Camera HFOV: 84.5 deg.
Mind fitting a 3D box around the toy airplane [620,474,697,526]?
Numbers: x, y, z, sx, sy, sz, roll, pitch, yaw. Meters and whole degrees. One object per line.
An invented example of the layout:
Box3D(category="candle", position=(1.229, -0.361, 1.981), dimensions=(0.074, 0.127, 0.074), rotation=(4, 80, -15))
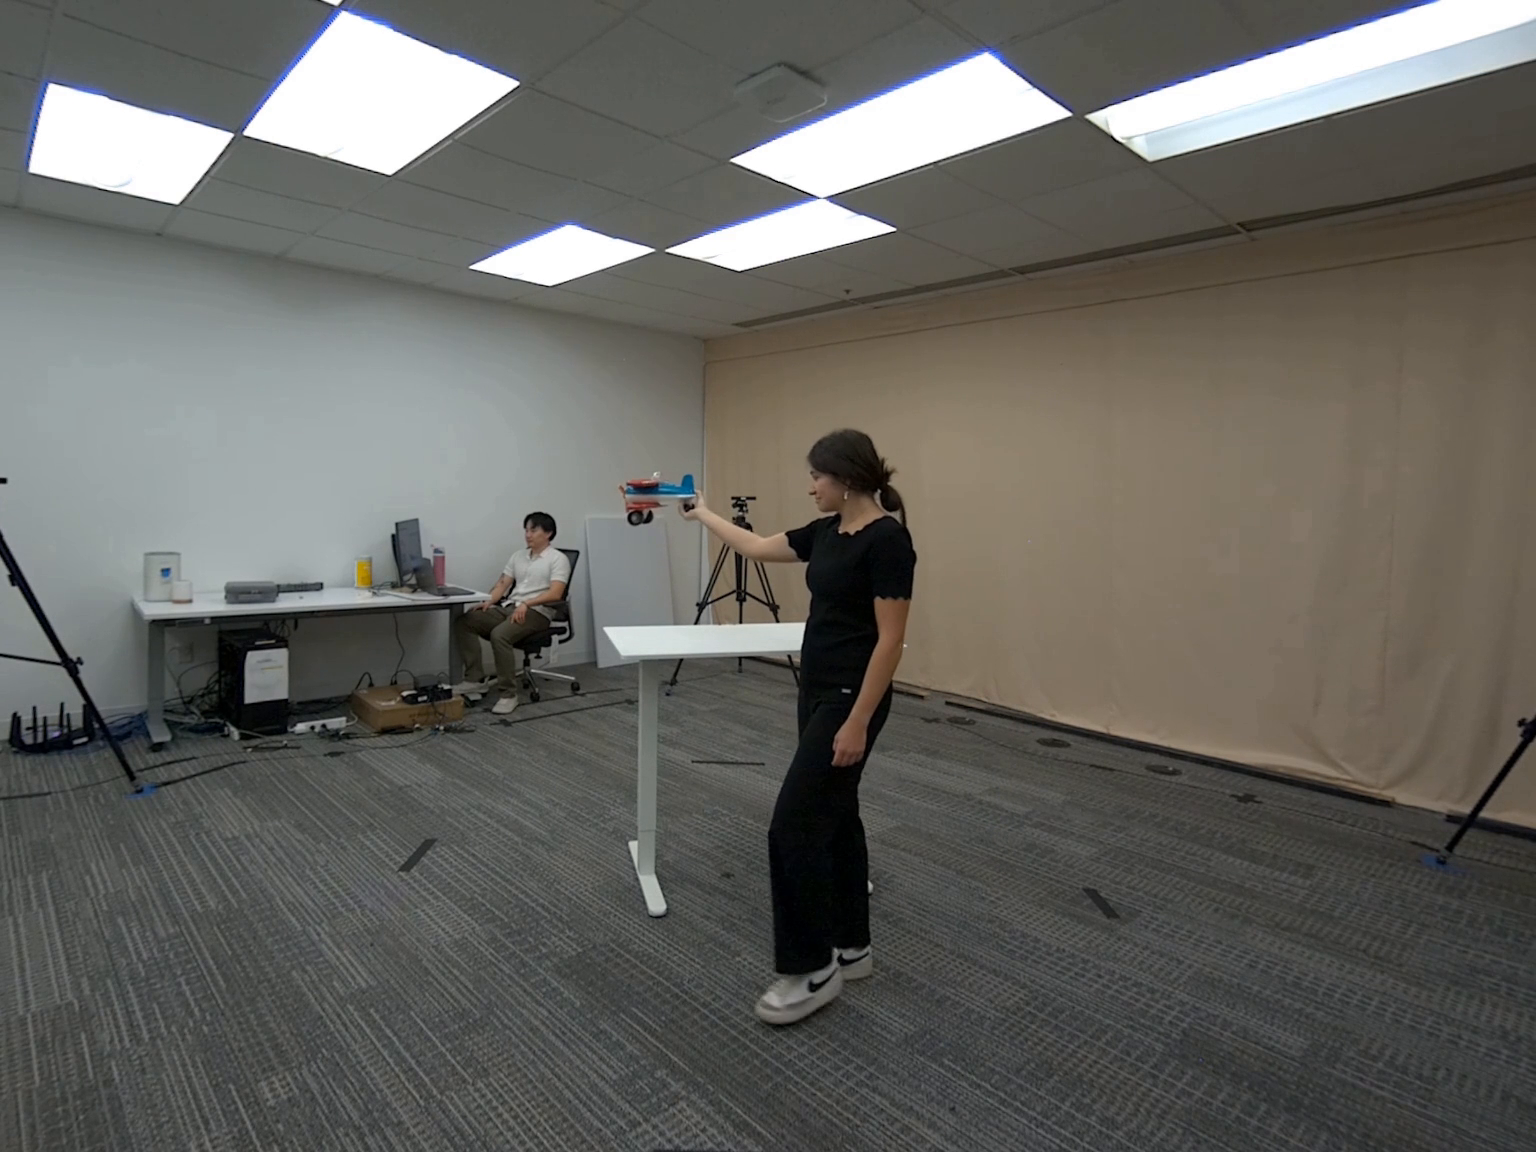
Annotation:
Box3D(category="toy airplane", position=(-0.369, -0.275, 2.889), dimensions=(0.257, 0.156, 0.254), rotation=(-16, 5, -13))
